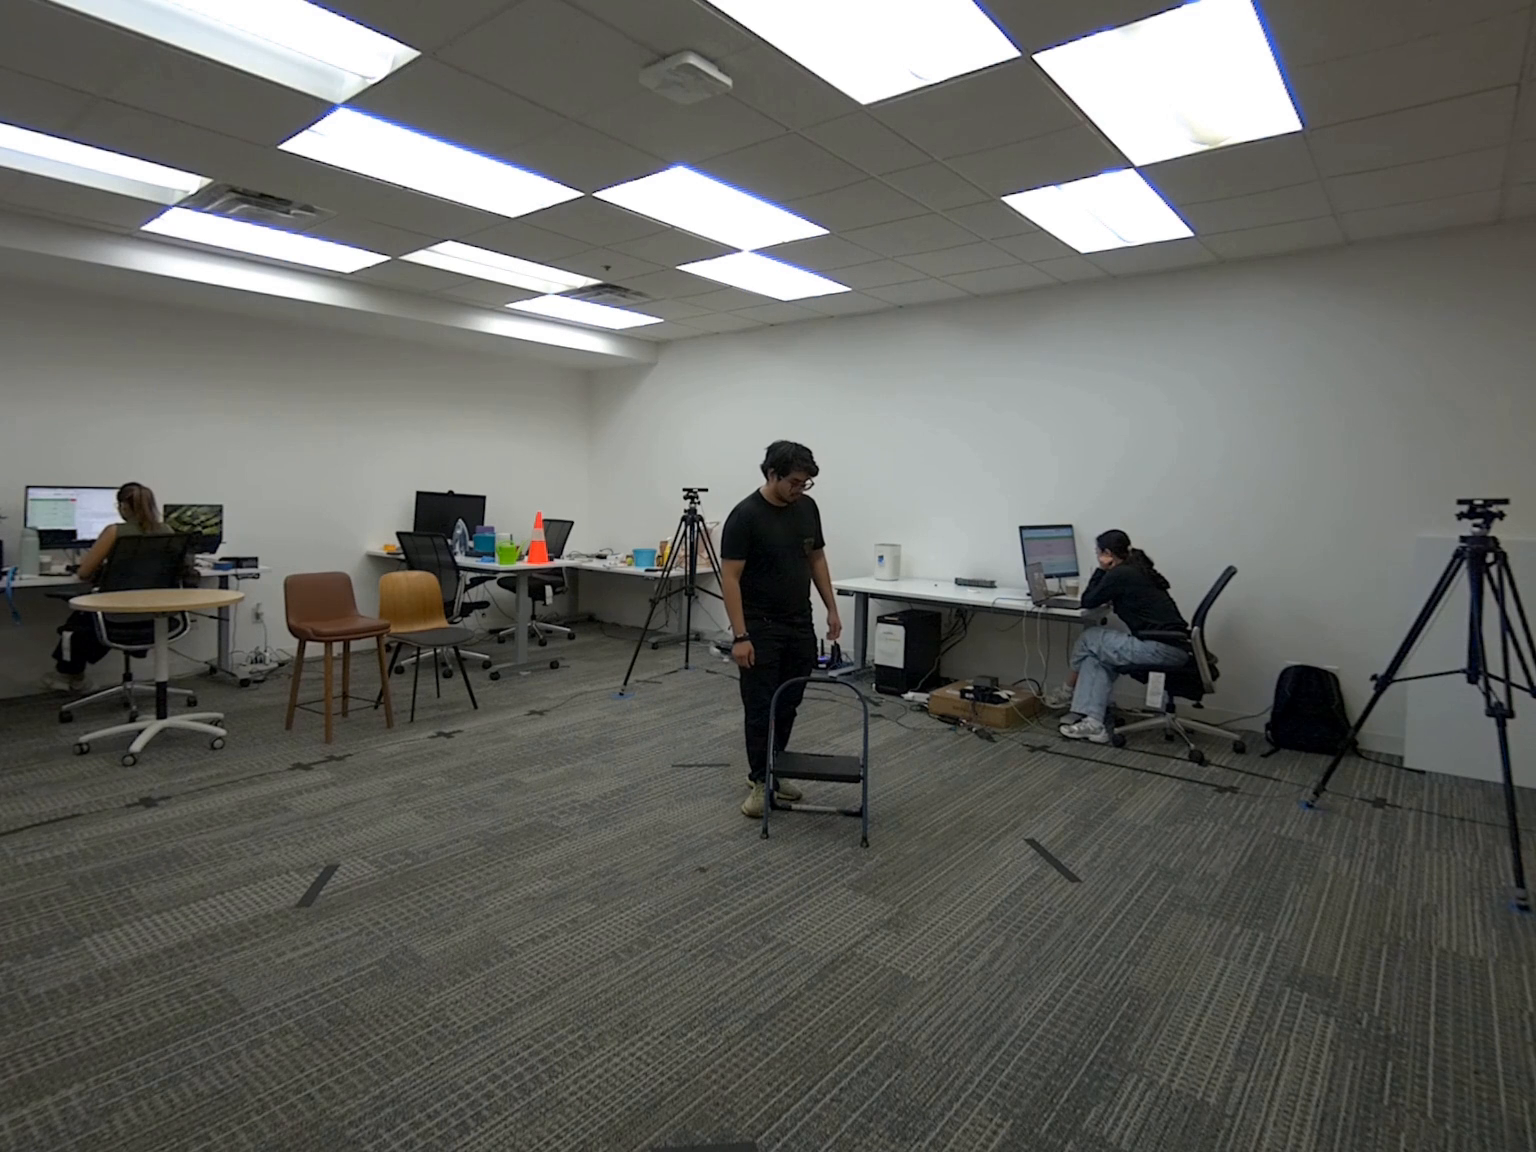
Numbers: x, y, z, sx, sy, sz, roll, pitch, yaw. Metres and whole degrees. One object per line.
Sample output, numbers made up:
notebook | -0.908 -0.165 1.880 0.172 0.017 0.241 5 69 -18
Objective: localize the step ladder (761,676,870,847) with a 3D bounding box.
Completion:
step ladder | 0.205 0.738 3.524 0.434 0.604 0.347 2 3 7
